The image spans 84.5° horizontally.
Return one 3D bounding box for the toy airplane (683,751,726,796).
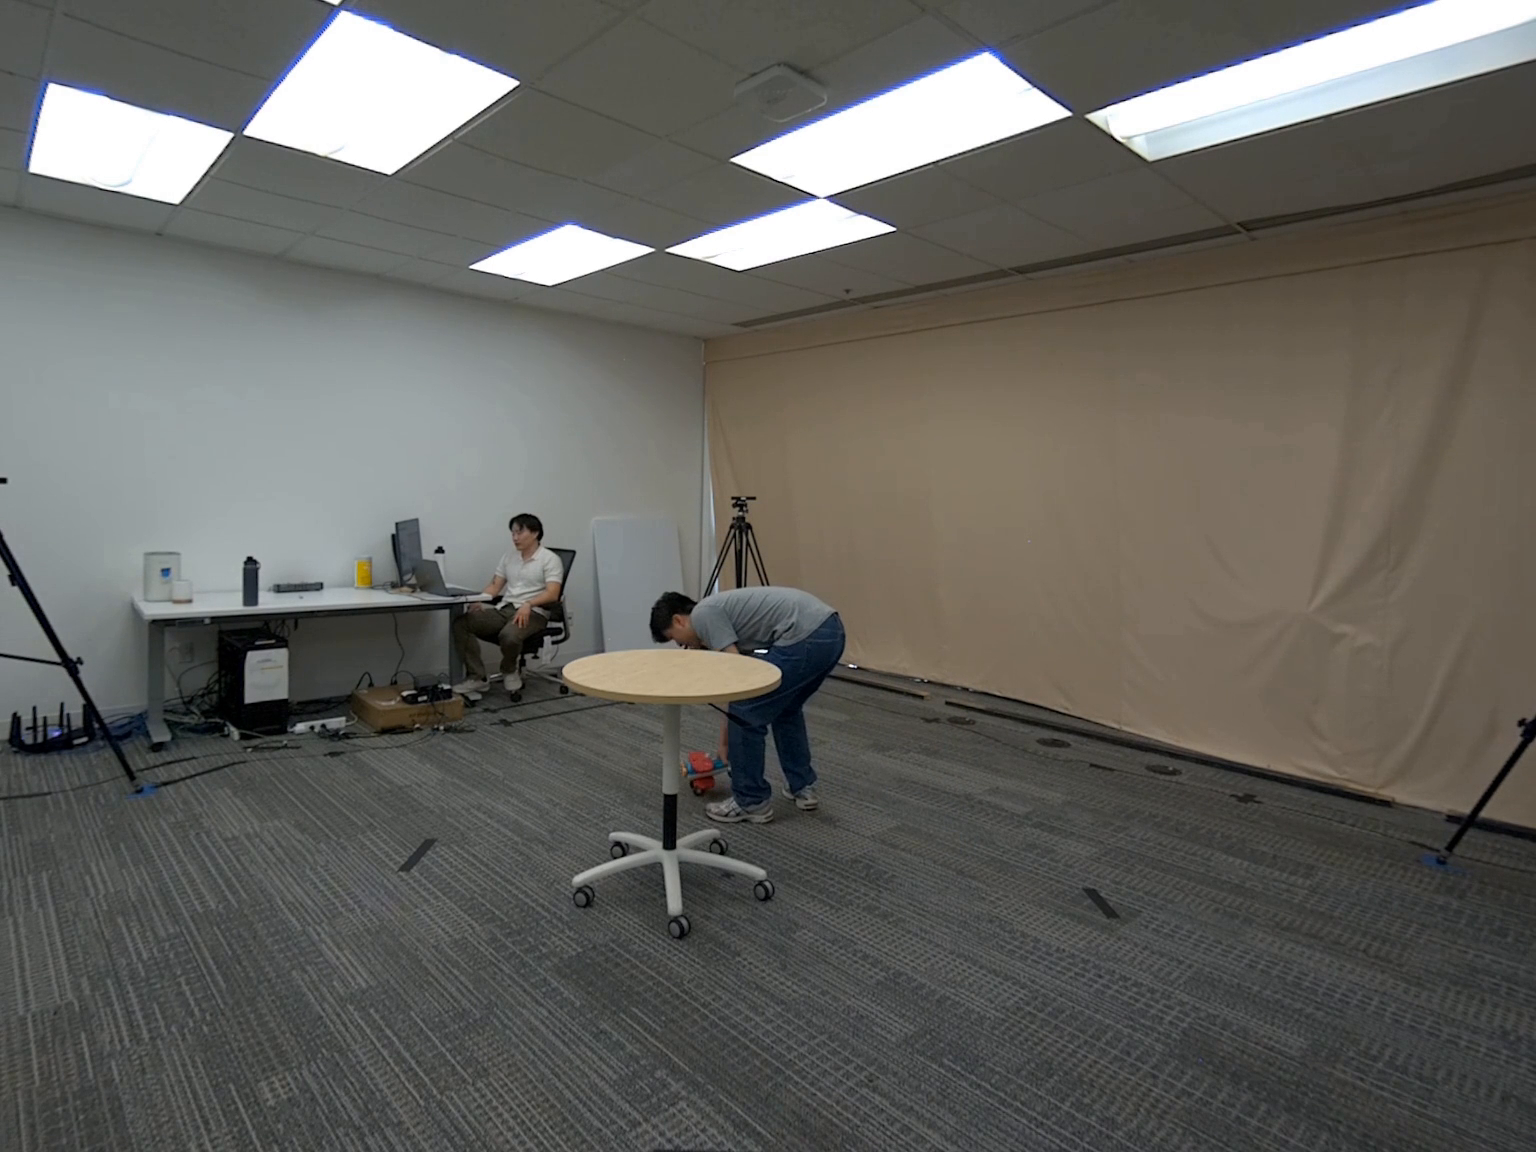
[{"bbox_3d":[-0.294,0.923,4.006,0.256,0.155,0.256,-30,16,-39],"label":"toy airplane"}]
